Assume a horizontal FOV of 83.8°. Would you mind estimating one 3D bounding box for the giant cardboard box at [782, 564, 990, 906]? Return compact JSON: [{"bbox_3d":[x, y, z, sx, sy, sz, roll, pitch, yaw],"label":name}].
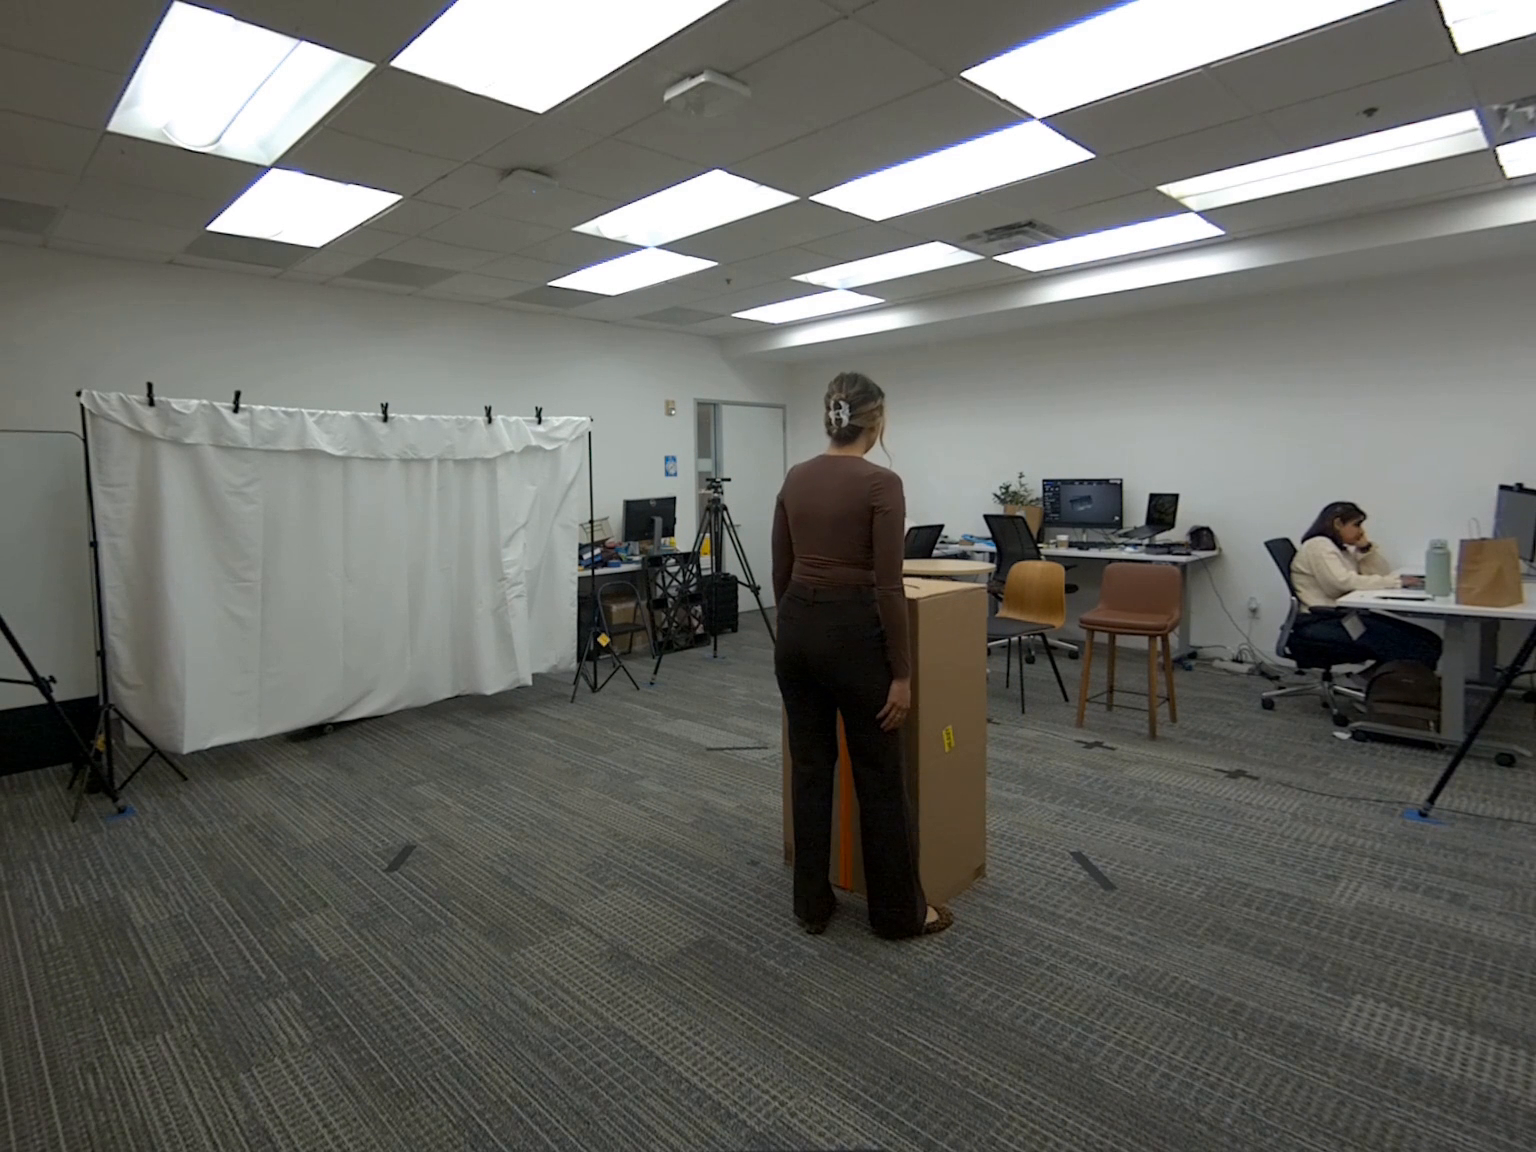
[{"bbox_3d":[0.401,0.535,3.006,0.435,1.023,0.602,-5,6,-44],"label":"giant cardboard box"}]
